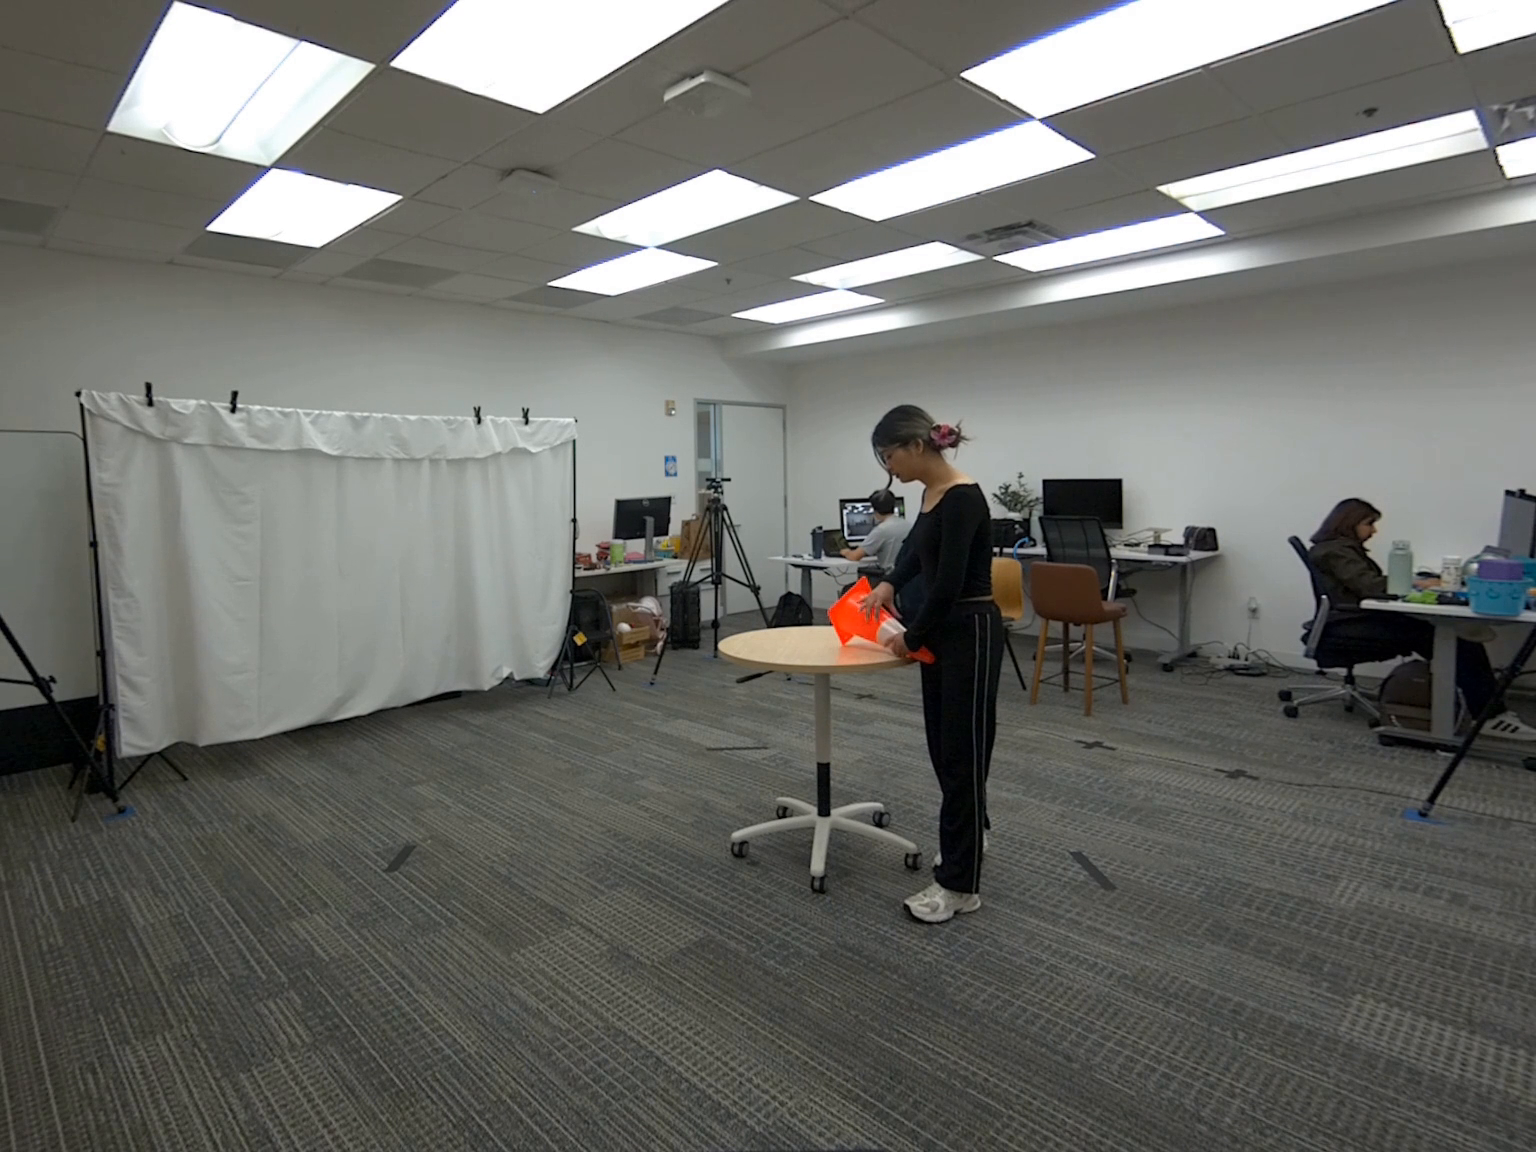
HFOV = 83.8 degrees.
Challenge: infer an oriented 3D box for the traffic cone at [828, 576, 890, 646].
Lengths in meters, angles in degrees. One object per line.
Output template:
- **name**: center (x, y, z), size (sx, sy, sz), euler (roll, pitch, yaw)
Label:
- **traffic cone**: center (0.413, 0.209, 2.930), size (0.204, 0.196, 0.399), euler (-38, 41, -13)
